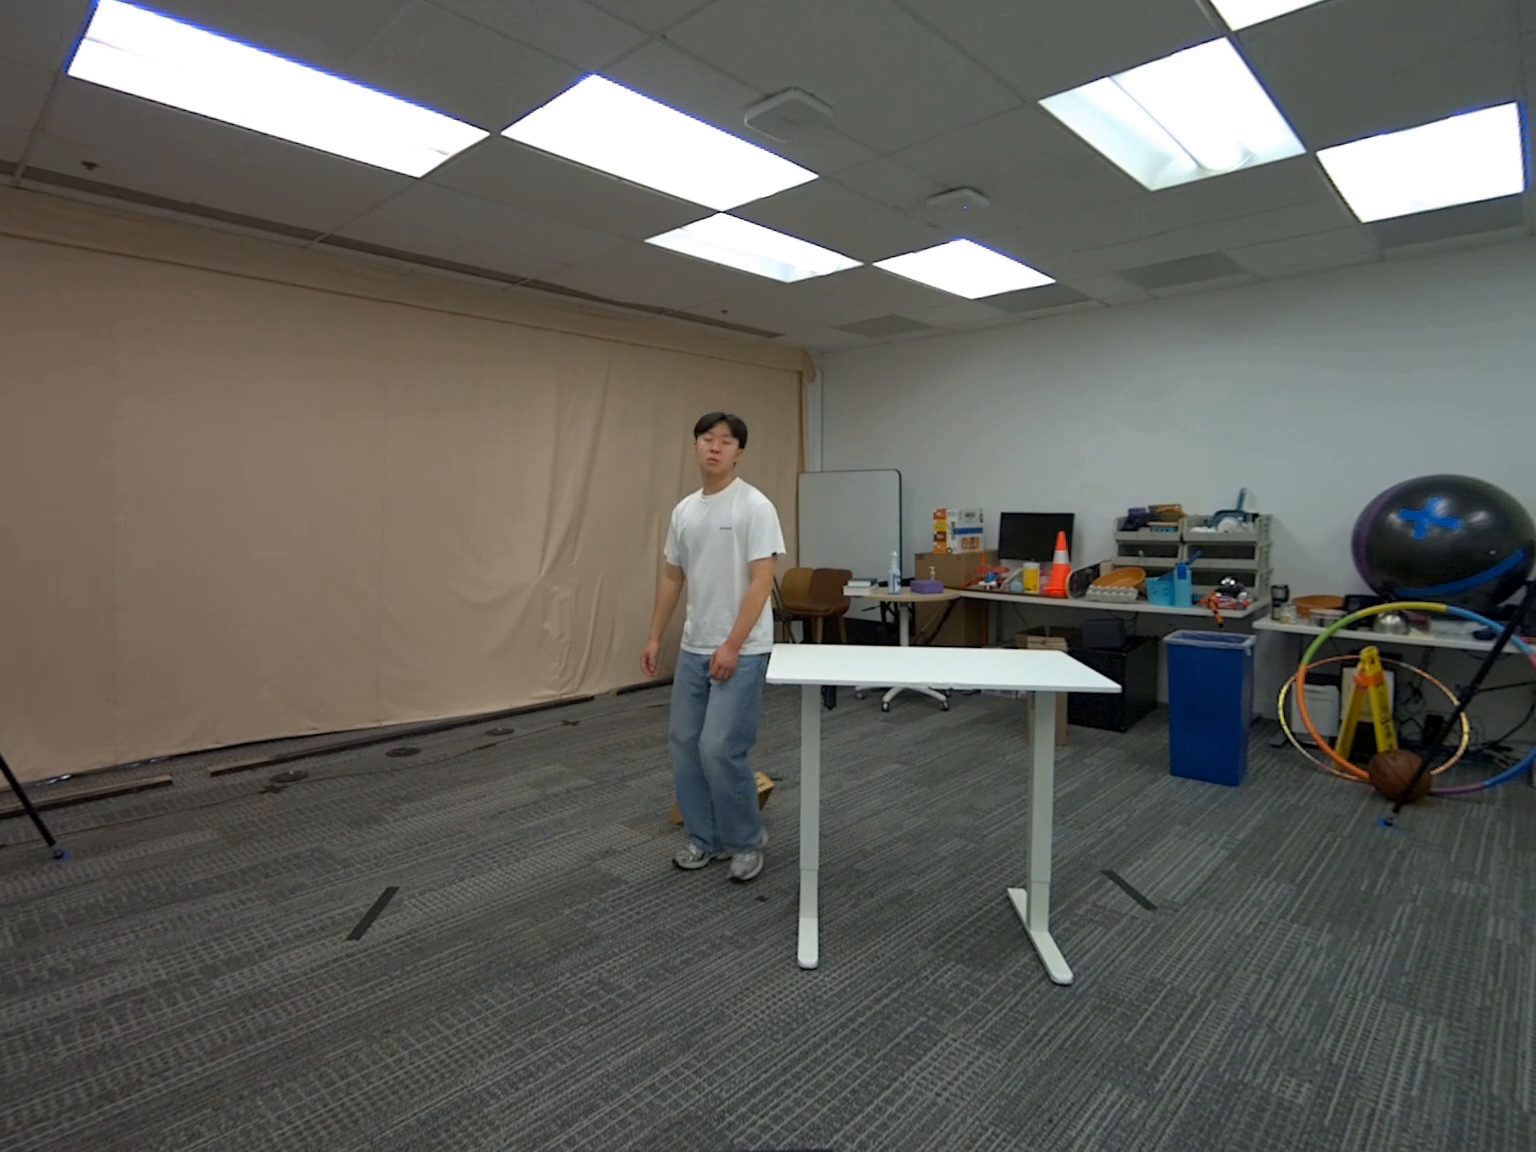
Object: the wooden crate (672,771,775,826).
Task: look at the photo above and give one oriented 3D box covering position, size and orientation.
[{"bbox_3d":[-0.199,0.995,3.717,0.282,0.301,0.315,35,23,30],"label":"wooden crate"}]
